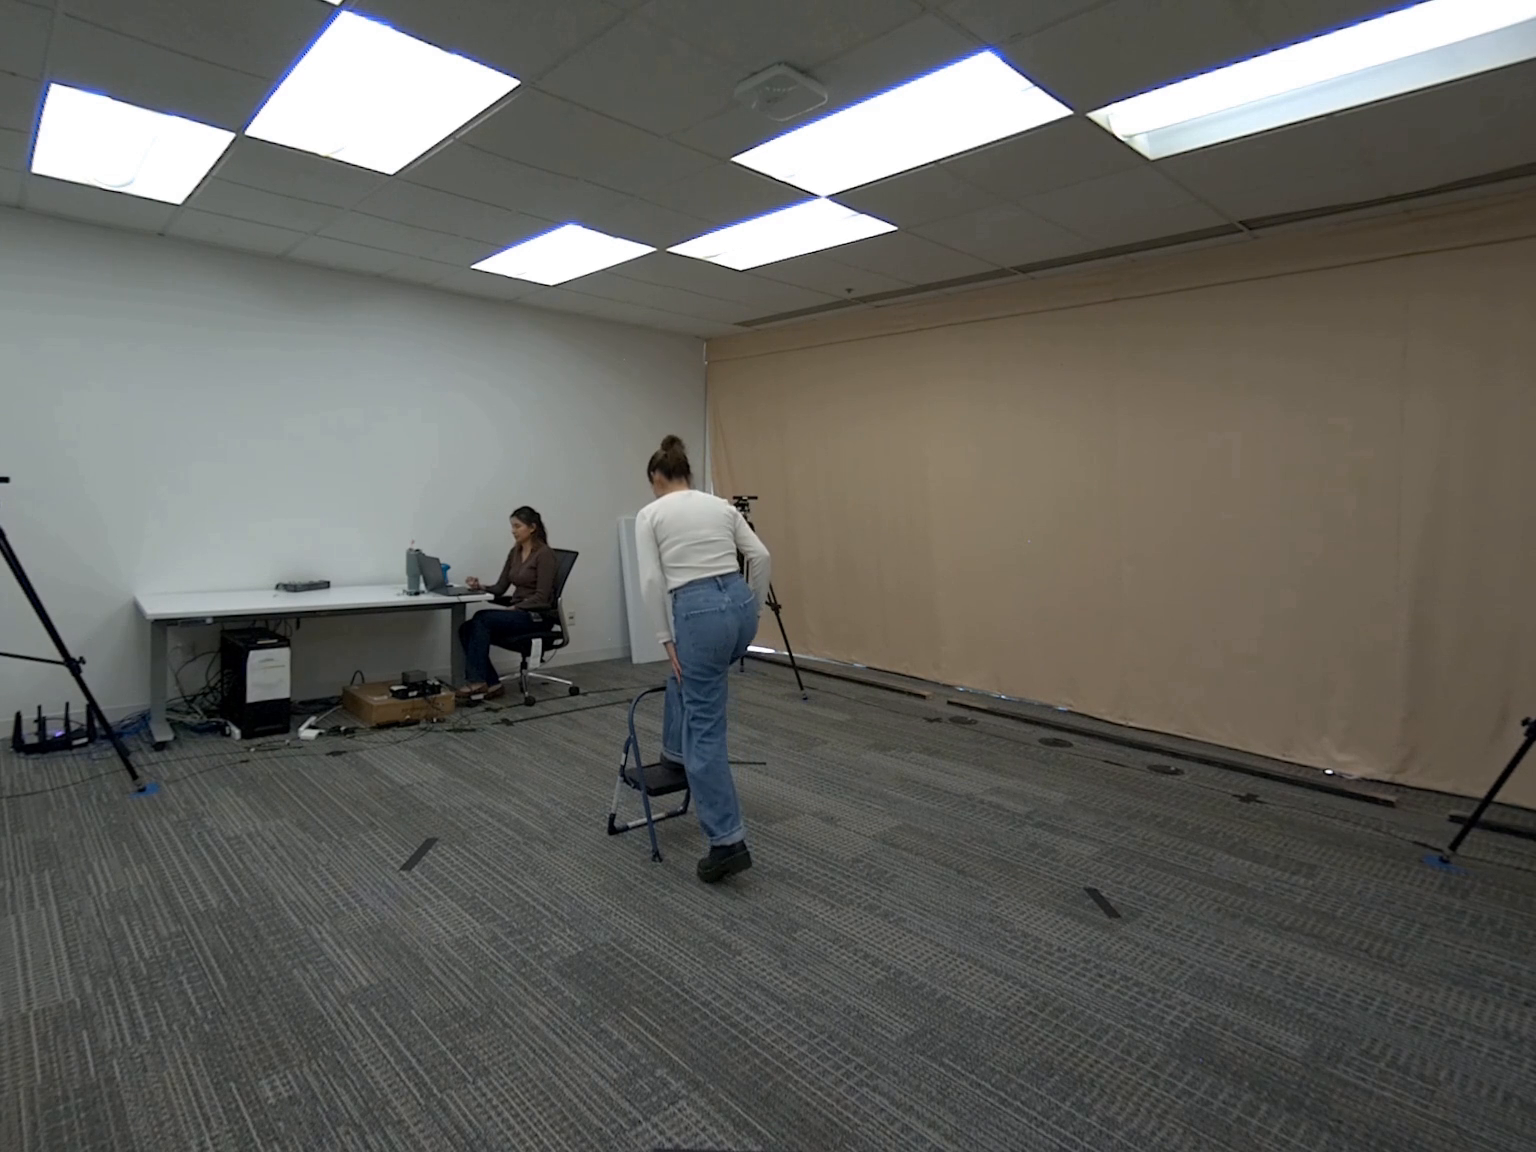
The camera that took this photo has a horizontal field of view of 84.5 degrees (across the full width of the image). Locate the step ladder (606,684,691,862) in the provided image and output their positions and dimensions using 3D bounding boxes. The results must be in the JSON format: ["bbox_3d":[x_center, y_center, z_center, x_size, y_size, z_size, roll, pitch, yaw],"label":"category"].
[{"bbox_3d":[-0.392,0.764,3.448,0.420,0.605,0.358,-1,5,-45],"label":"step ladder"}]
